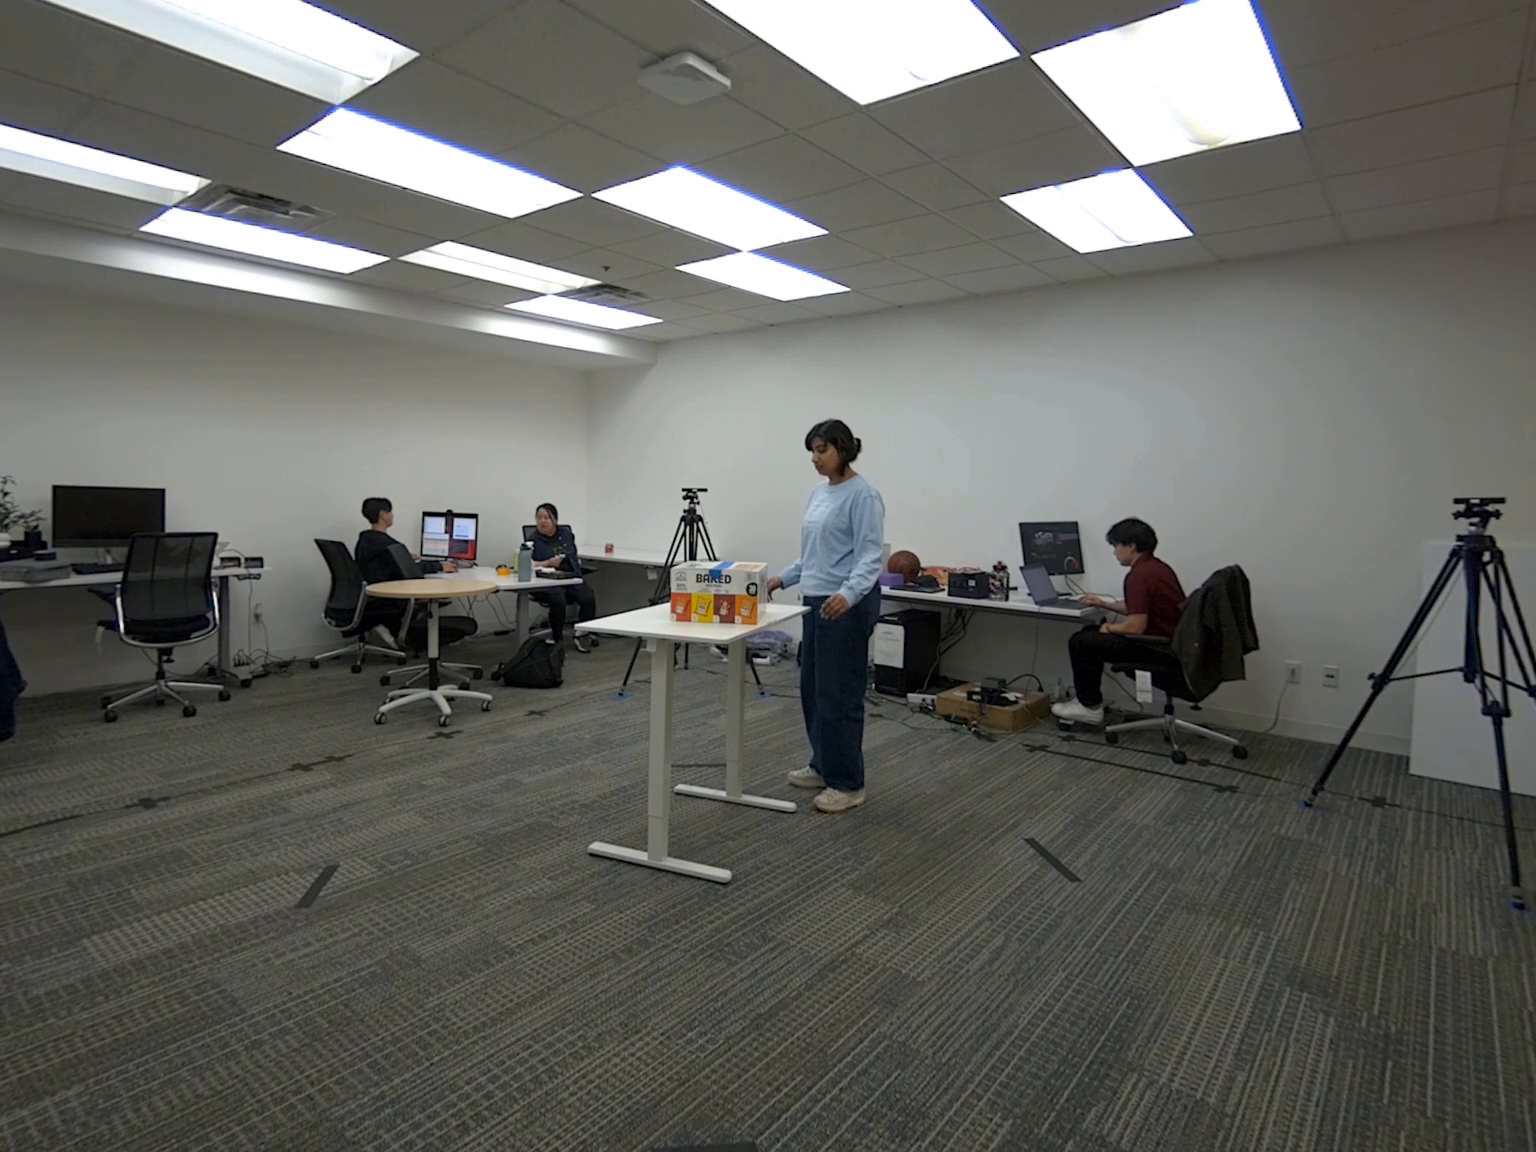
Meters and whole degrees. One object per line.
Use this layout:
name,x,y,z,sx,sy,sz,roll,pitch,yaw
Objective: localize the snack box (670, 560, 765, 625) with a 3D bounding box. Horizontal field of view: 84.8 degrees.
snack box,-0.198,0.055,3.420,0.343,0.205,0.403,2,4,6
